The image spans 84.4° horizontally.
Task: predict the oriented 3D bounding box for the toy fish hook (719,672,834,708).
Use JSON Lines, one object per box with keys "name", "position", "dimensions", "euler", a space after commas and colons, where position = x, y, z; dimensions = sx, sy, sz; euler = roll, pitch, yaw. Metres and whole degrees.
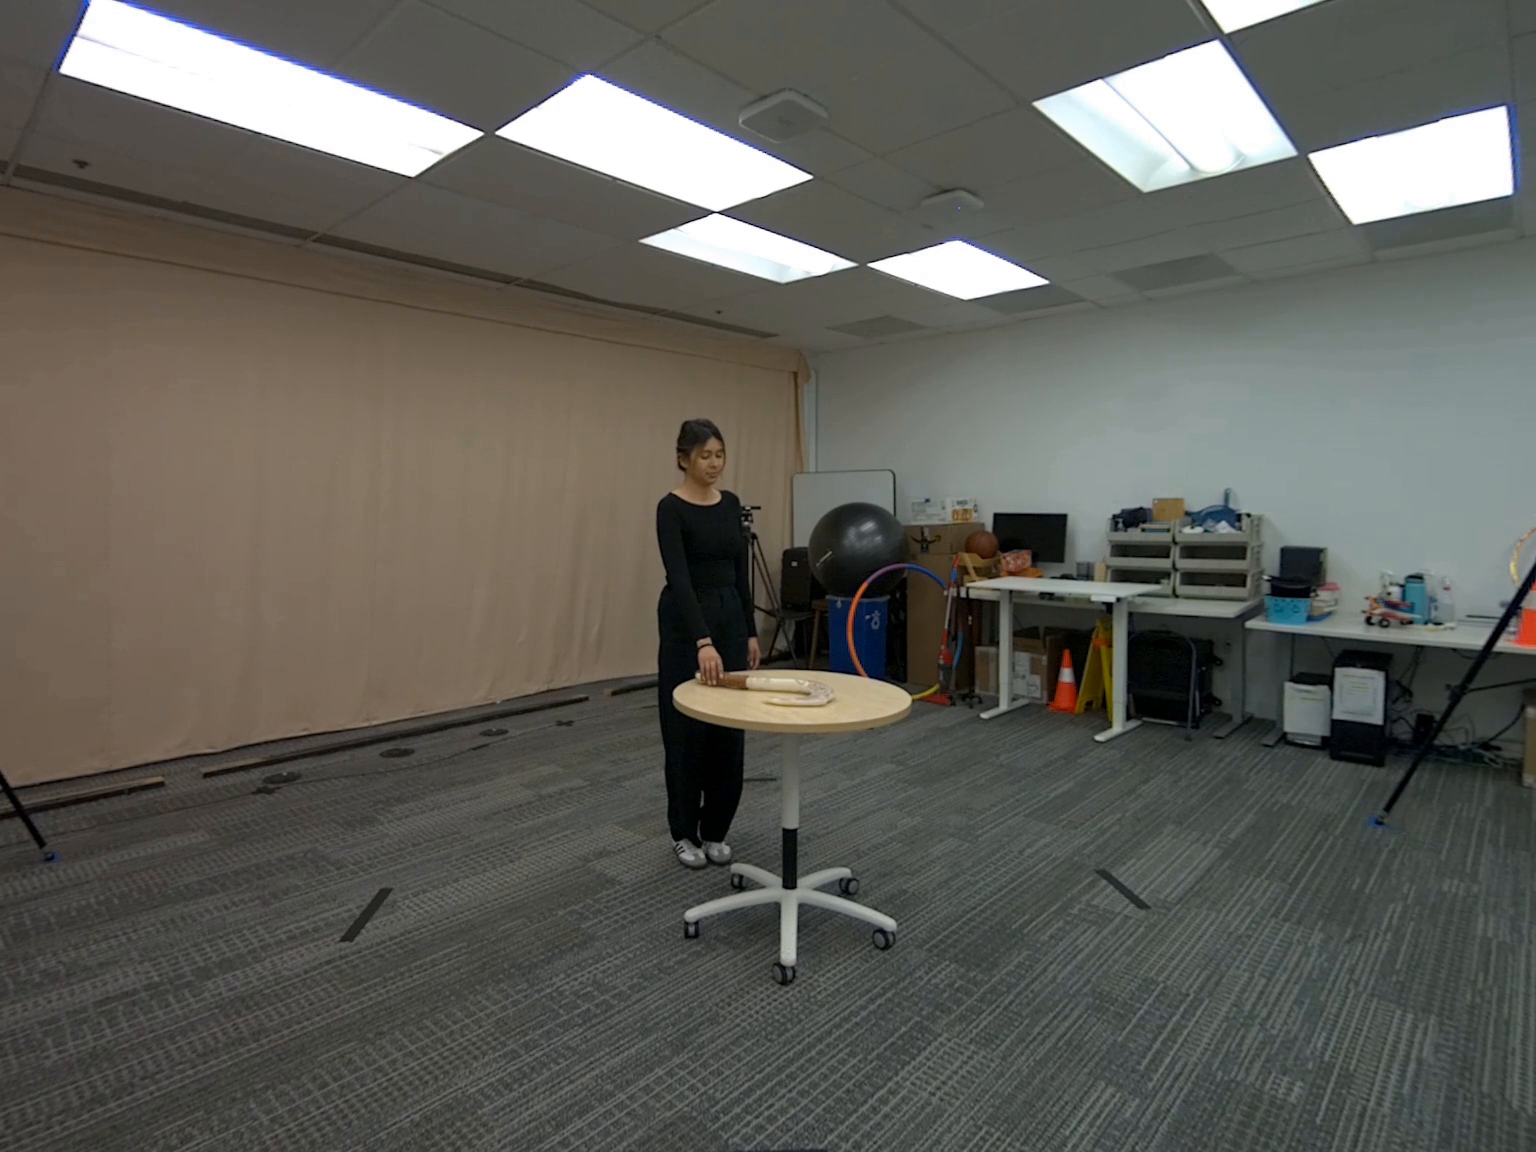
{"name": "toy fish hook", "position": [-0.028, 0.368, 2.690], "dimensions": [0.521, 0.048, 0.219], "euler": [4, 3, 27]}
